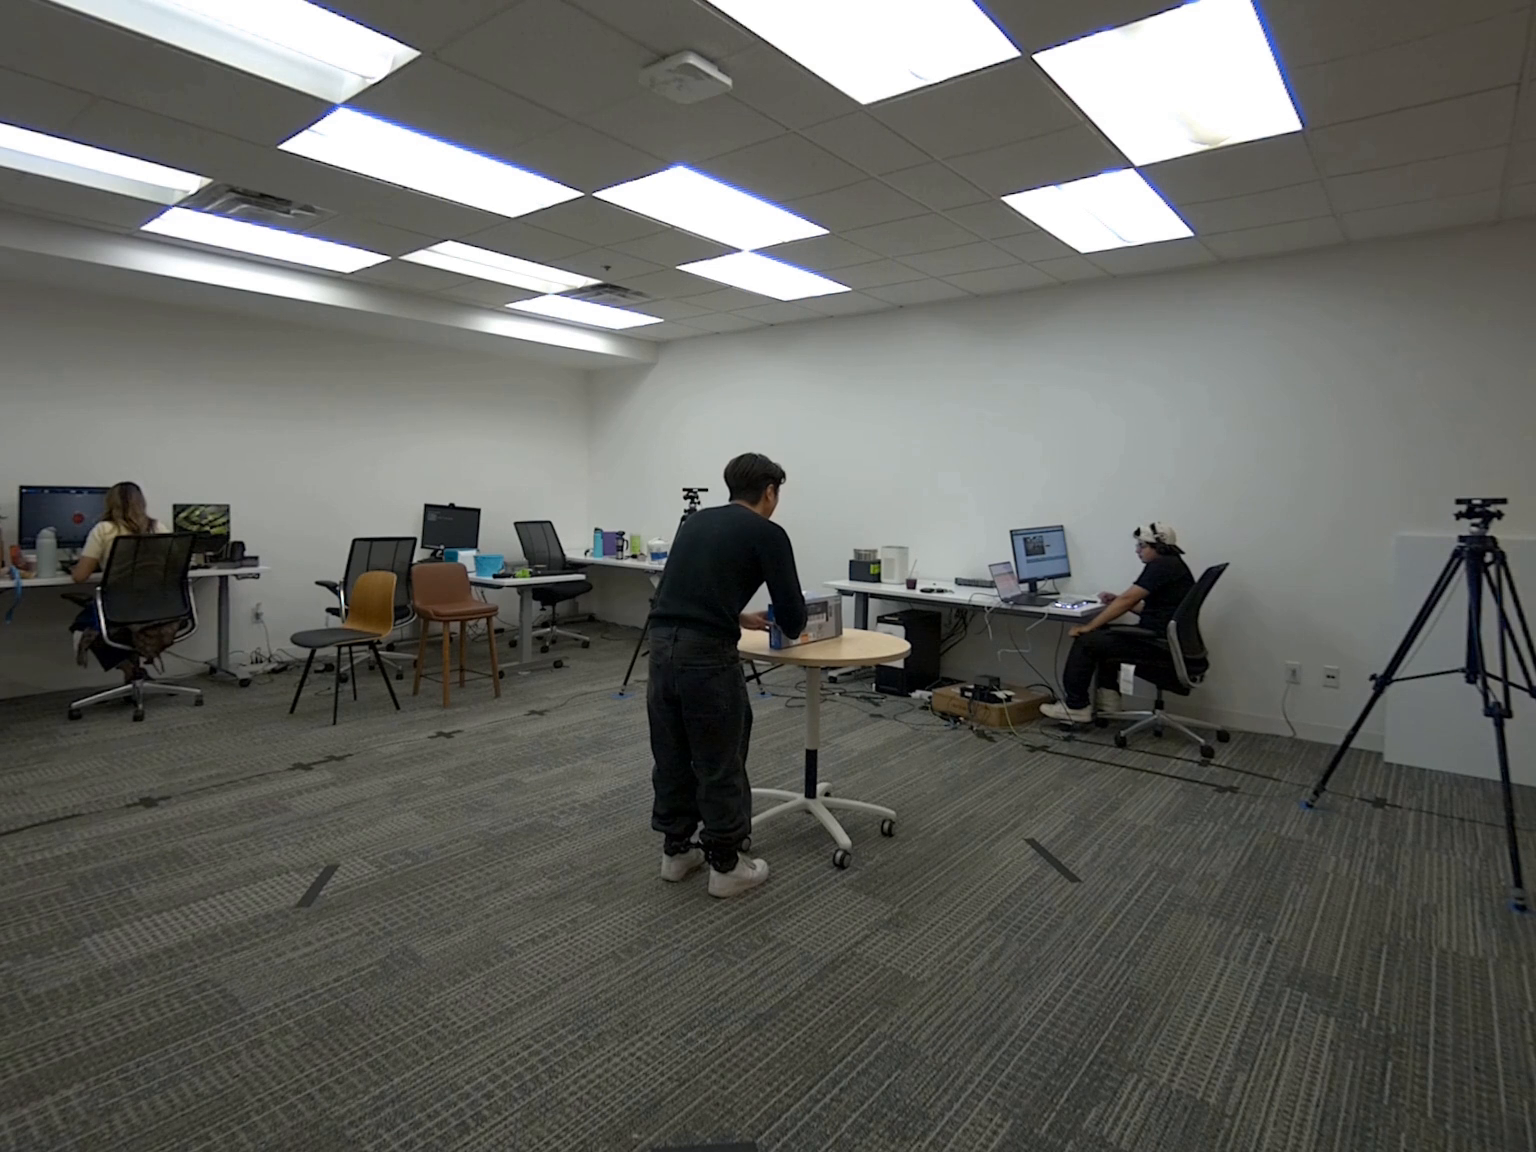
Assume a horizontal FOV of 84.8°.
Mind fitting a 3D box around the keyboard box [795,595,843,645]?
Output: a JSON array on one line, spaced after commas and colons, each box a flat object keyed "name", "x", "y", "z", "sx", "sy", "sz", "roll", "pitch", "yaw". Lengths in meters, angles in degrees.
[{"name": "keyboard box", "x": 0.153, "y": 0.177, "z": 3.430, "sx": 0.061, "sy": 0.175, "sz": 0.424, "roll": 0, "pitch": 4, "yaw": 39}]
